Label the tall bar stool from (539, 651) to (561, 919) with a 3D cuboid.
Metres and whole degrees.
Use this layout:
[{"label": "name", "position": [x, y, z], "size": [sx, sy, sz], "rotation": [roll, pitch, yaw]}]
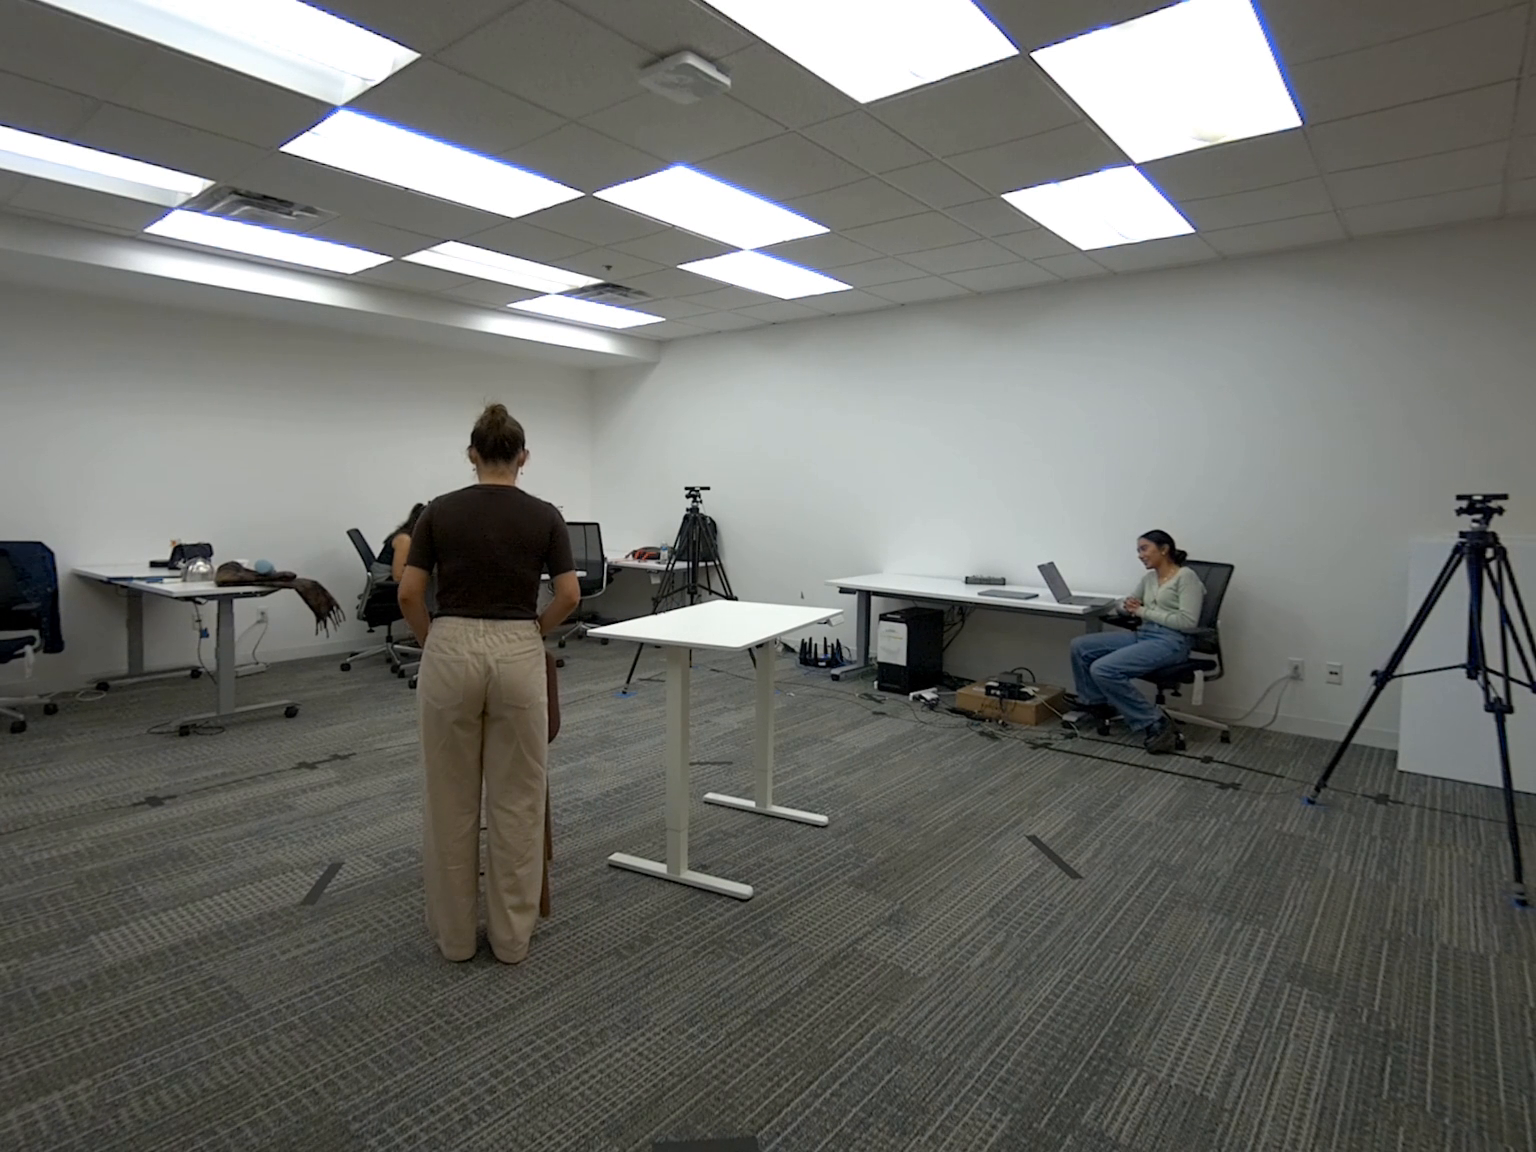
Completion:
[{"label": "tall bar stool", "position": [-0.952, 0.638, 2.890], "size": [0.451, 0.885, 0.476], "rotation": [0, 6, -12]}]
